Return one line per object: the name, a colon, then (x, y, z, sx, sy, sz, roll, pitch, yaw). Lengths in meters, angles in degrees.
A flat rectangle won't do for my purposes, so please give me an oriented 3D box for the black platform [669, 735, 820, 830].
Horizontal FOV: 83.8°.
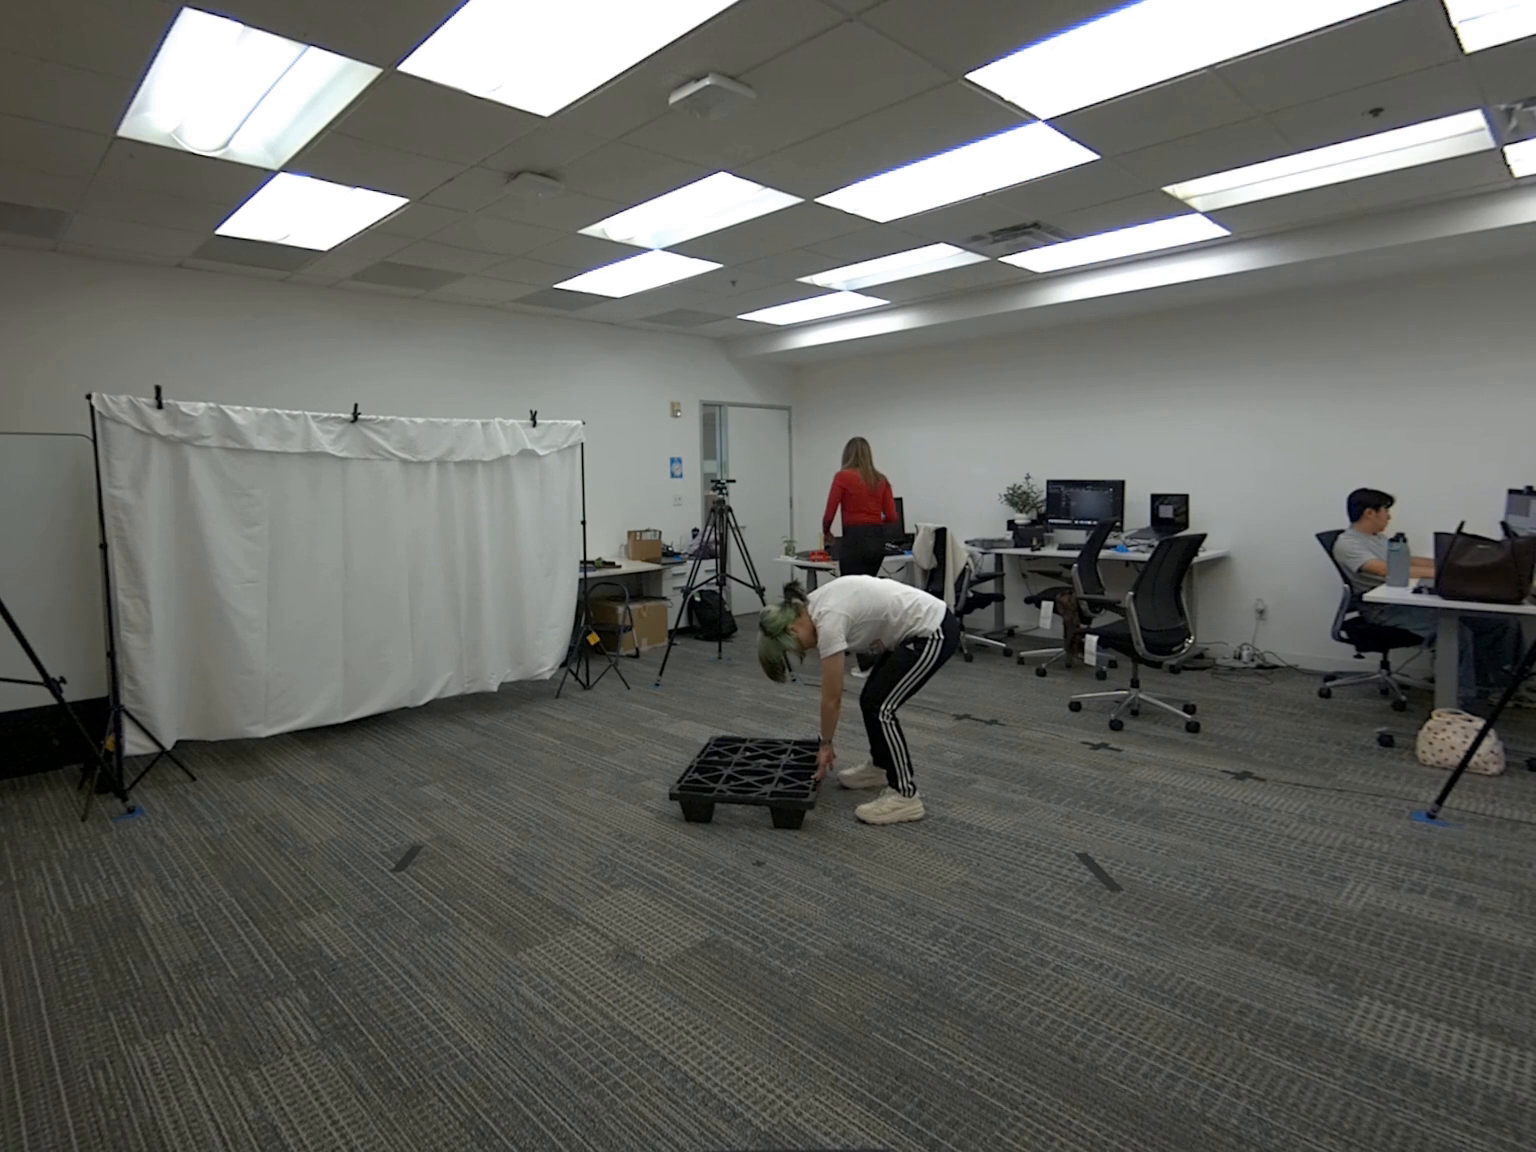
black platform: (-0.041, 0.899, 3.807, 0.612, 0.142, 0.800, 0, 7, 11)
